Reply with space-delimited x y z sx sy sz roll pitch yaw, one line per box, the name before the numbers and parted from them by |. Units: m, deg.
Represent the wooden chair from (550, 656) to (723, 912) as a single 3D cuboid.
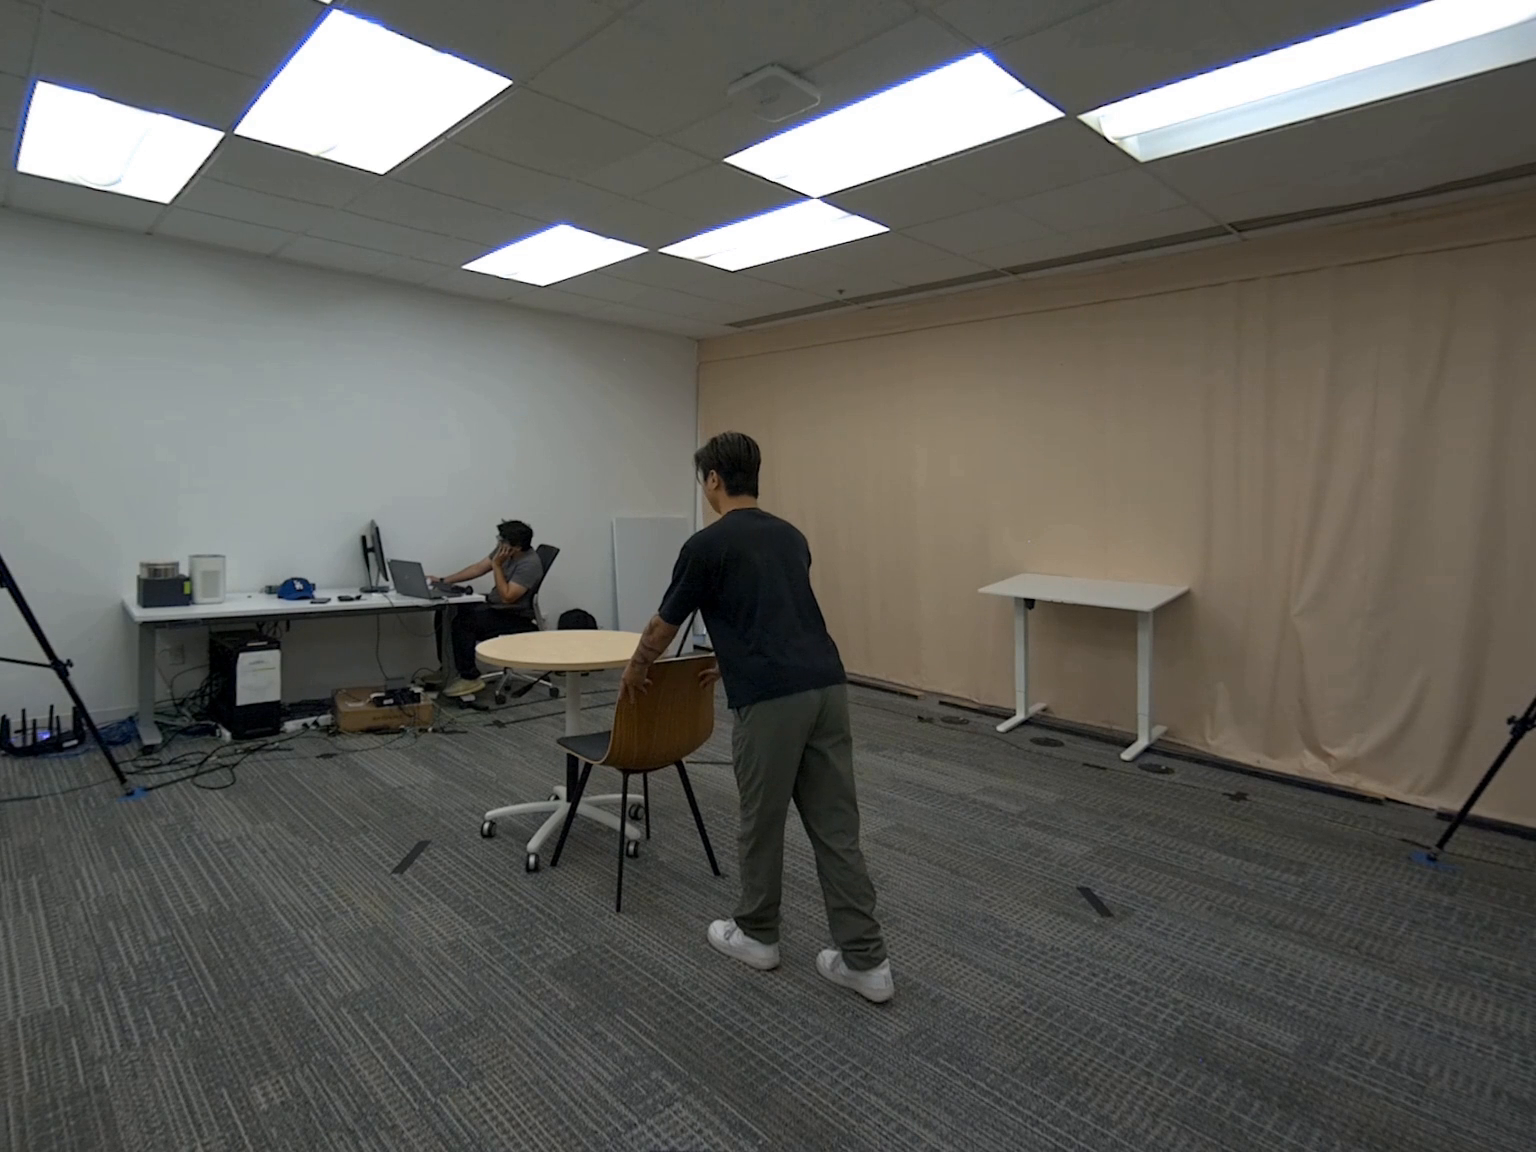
wooden chair | -0.493 0.674 3.098 0.467 0.873 0.537 -2 9 -42
